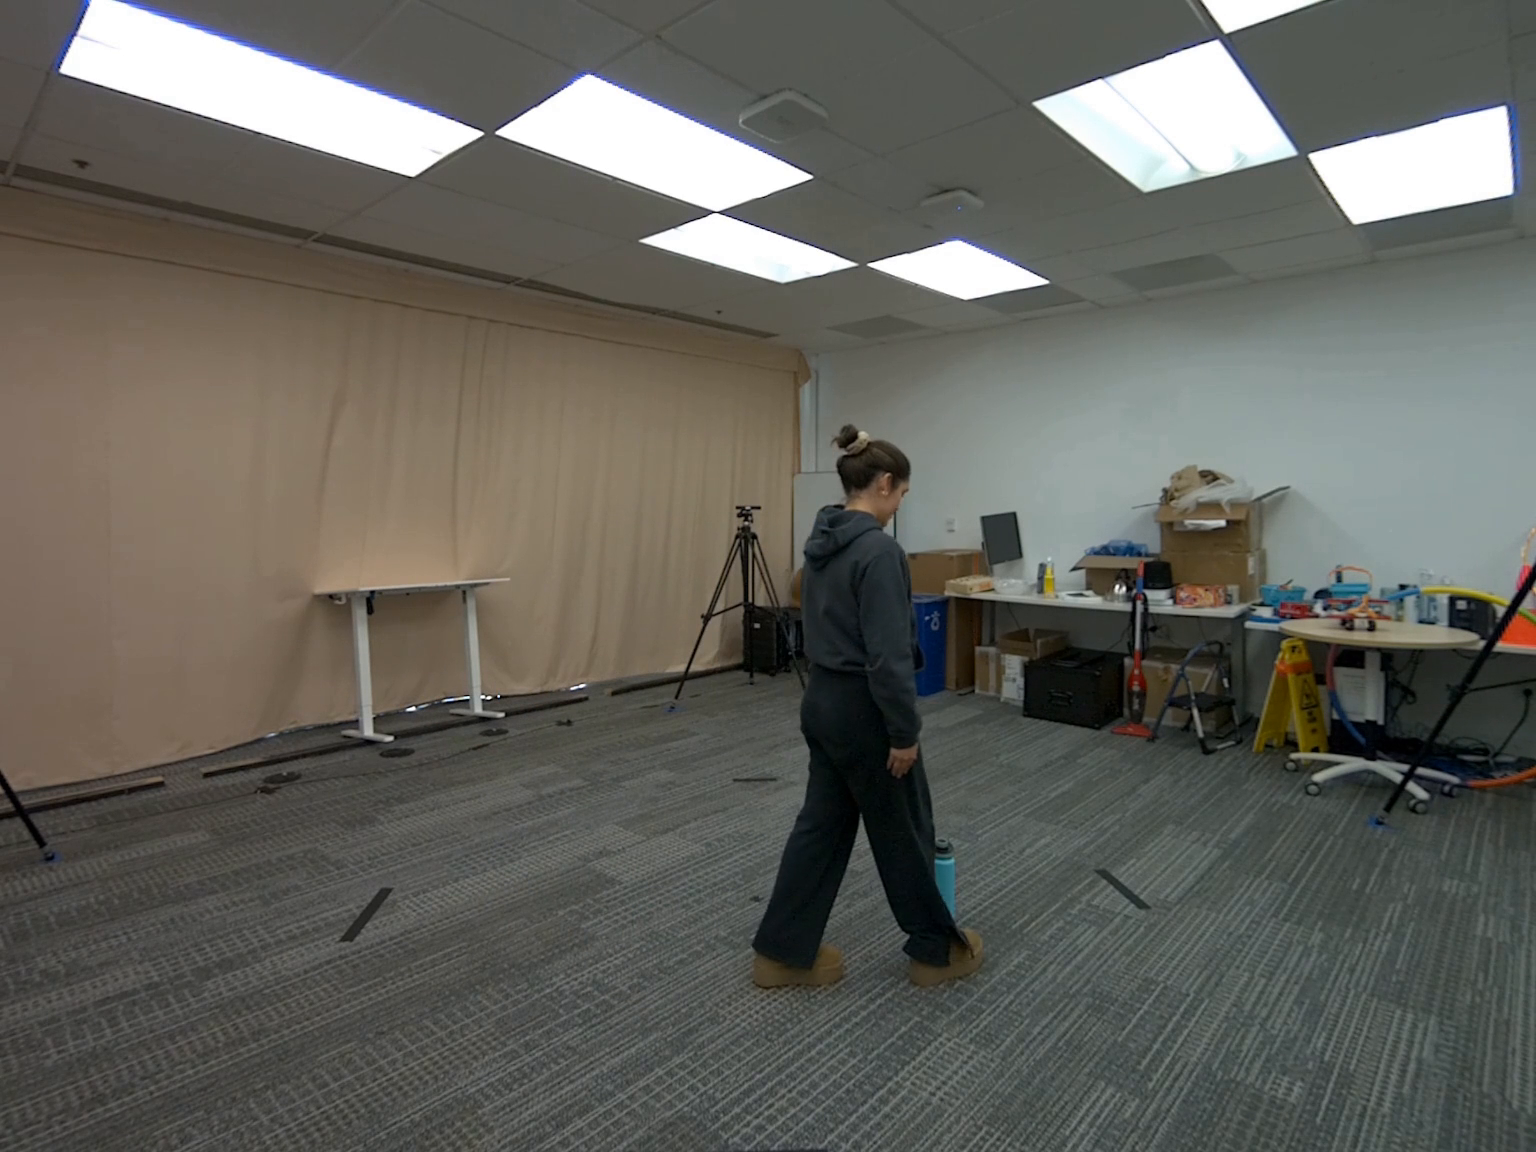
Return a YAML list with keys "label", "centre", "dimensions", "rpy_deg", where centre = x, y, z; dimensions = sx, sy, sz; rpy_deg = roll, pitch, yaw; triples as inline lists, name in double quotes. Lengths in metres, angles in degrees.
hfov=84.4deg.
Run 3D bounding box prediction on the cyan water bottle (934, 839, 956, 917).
- label: "cyan water bottle"
  centre: [0.610, 1.009, 2.796]
  dimensions: [0.092, 0.283, 0.092]
  rpy_deg: [-2, 2, -2]
